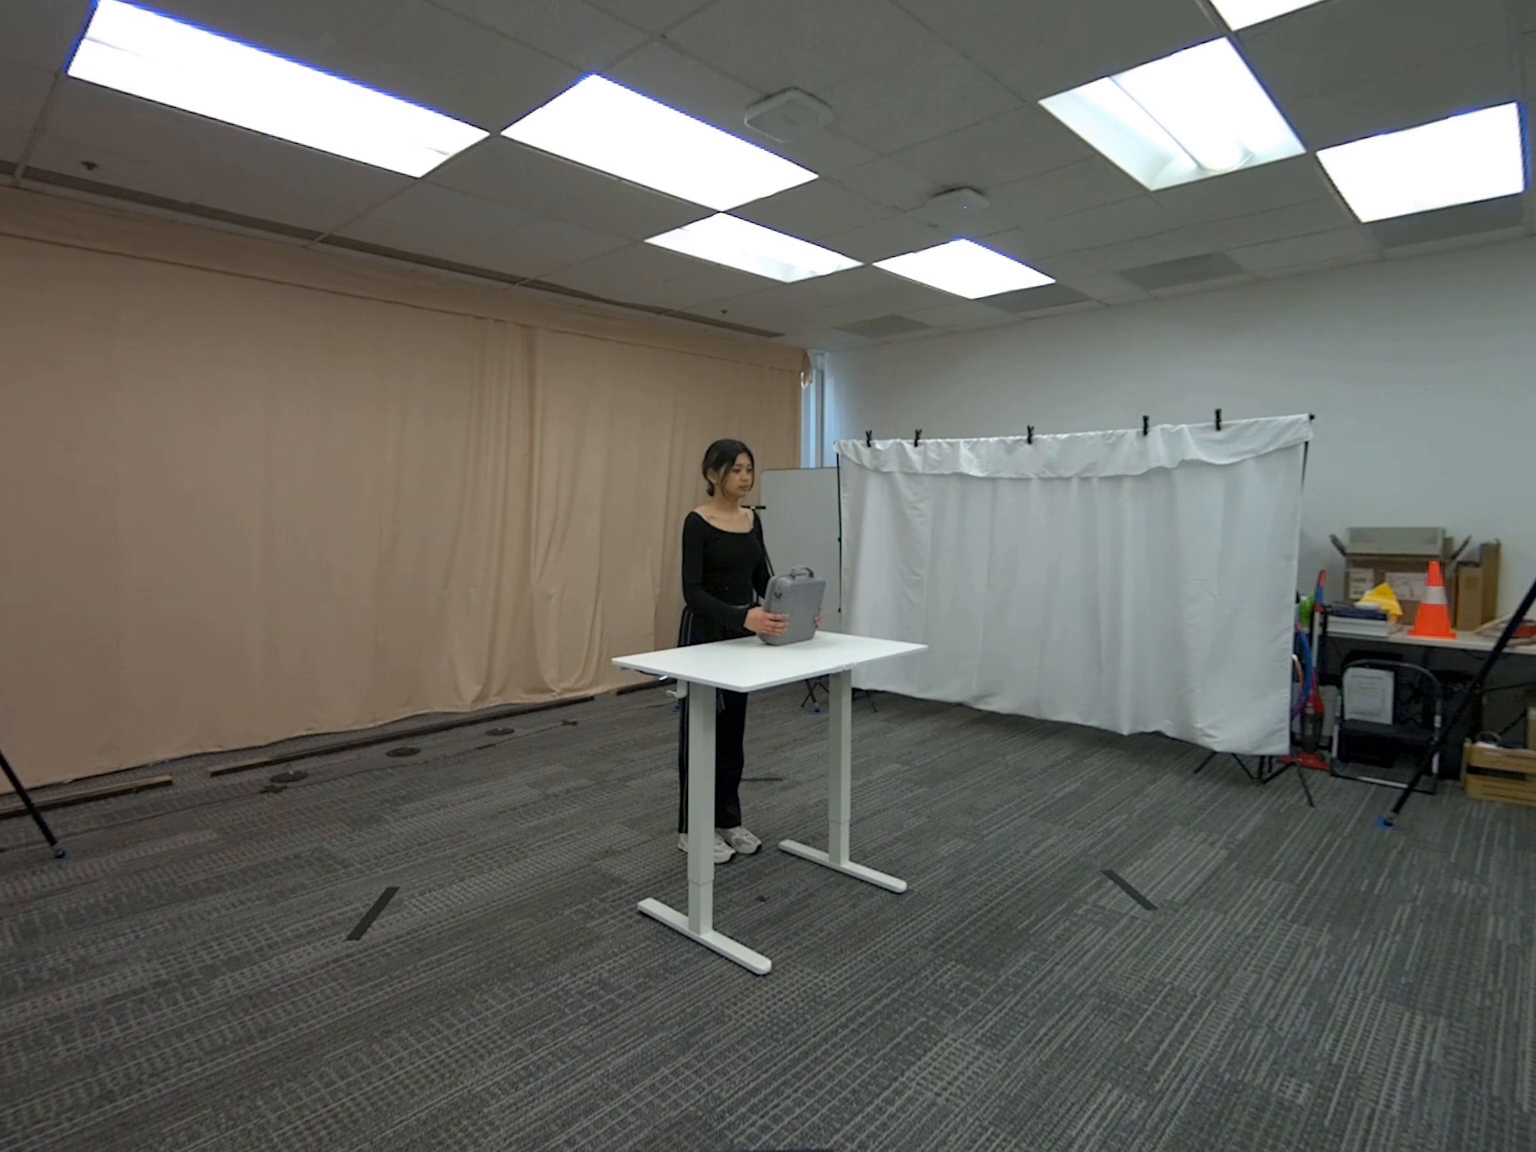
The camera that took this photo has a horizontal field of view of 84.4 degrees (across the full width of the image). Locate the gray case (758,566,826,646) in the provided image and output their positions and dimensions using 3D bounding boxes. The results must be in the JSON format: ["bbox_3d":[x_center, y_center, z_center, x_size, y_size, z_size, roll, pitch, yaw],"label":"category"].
[{"bbox_3d":[0.087,0.116,3.134,0.108,0.259,0.249,19,16,41],"label":"gray case"}]
